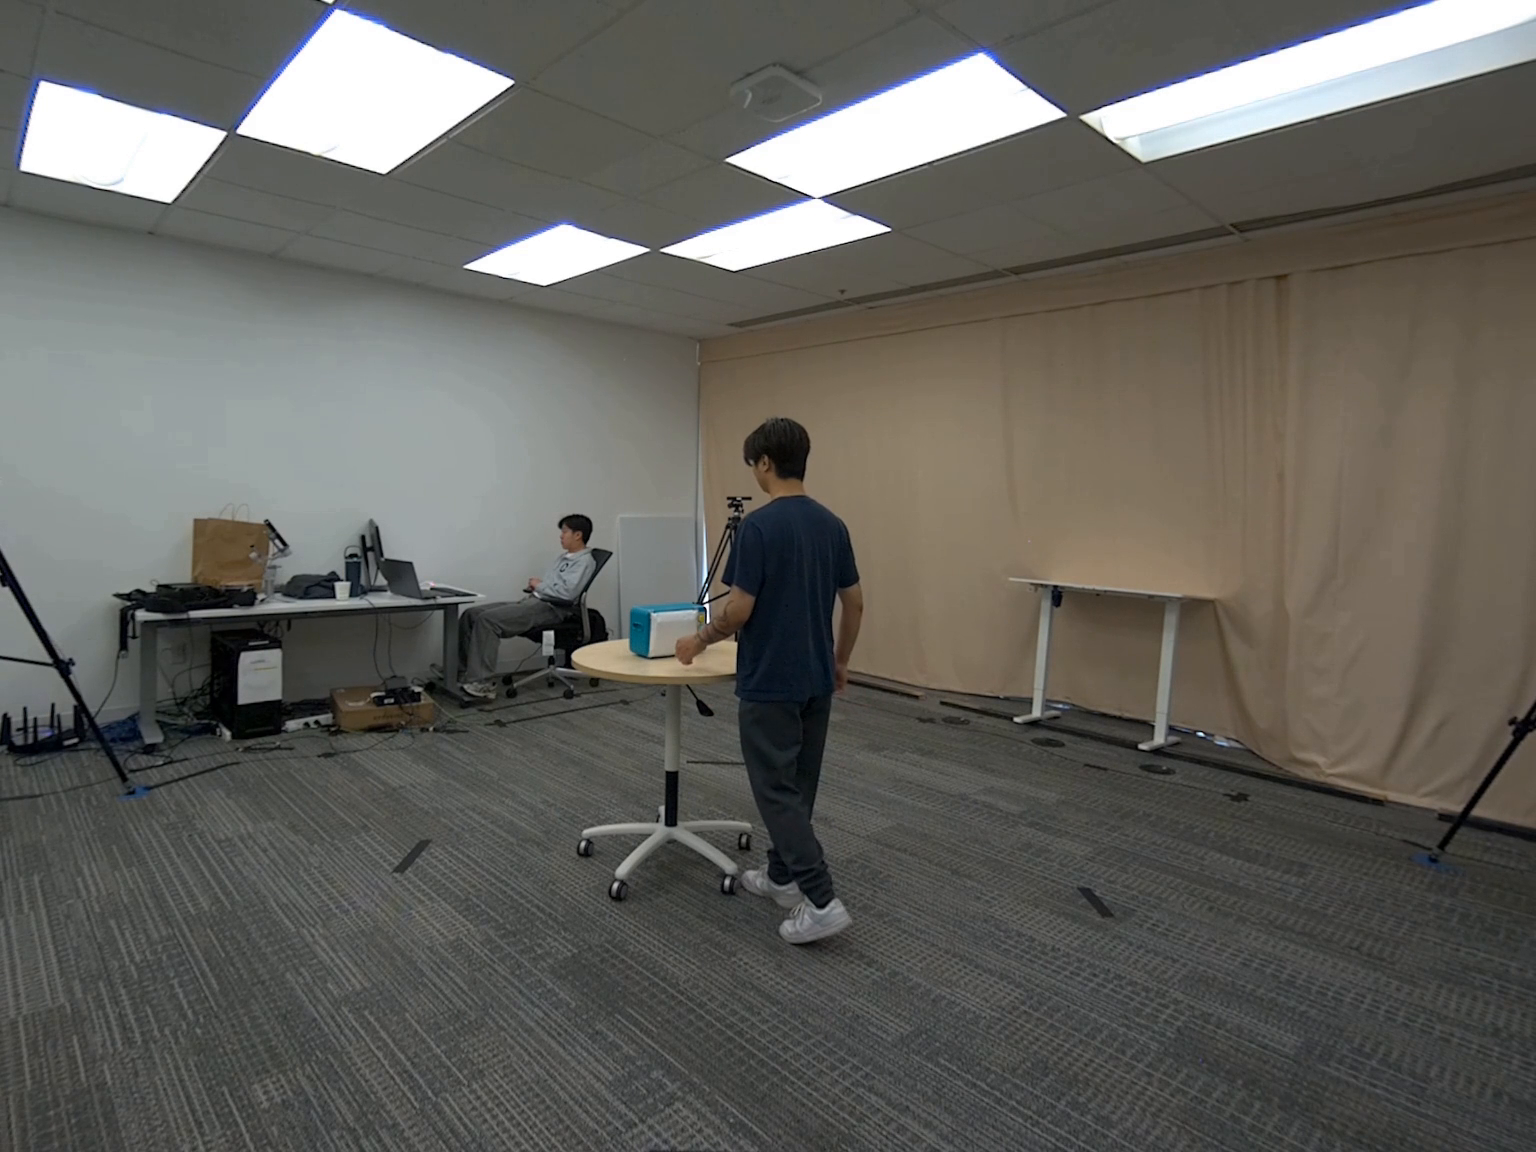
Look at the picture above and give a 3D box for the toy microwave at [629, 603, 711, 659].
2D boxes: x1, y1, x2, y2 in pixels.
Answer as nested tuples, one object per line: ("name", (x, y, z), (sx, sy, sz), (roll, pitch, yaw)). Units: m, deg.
("toy microwave", (-0.375, 0.205, 3.179), (0.280, 0.183, 0.156), (-2, 6, -39))
